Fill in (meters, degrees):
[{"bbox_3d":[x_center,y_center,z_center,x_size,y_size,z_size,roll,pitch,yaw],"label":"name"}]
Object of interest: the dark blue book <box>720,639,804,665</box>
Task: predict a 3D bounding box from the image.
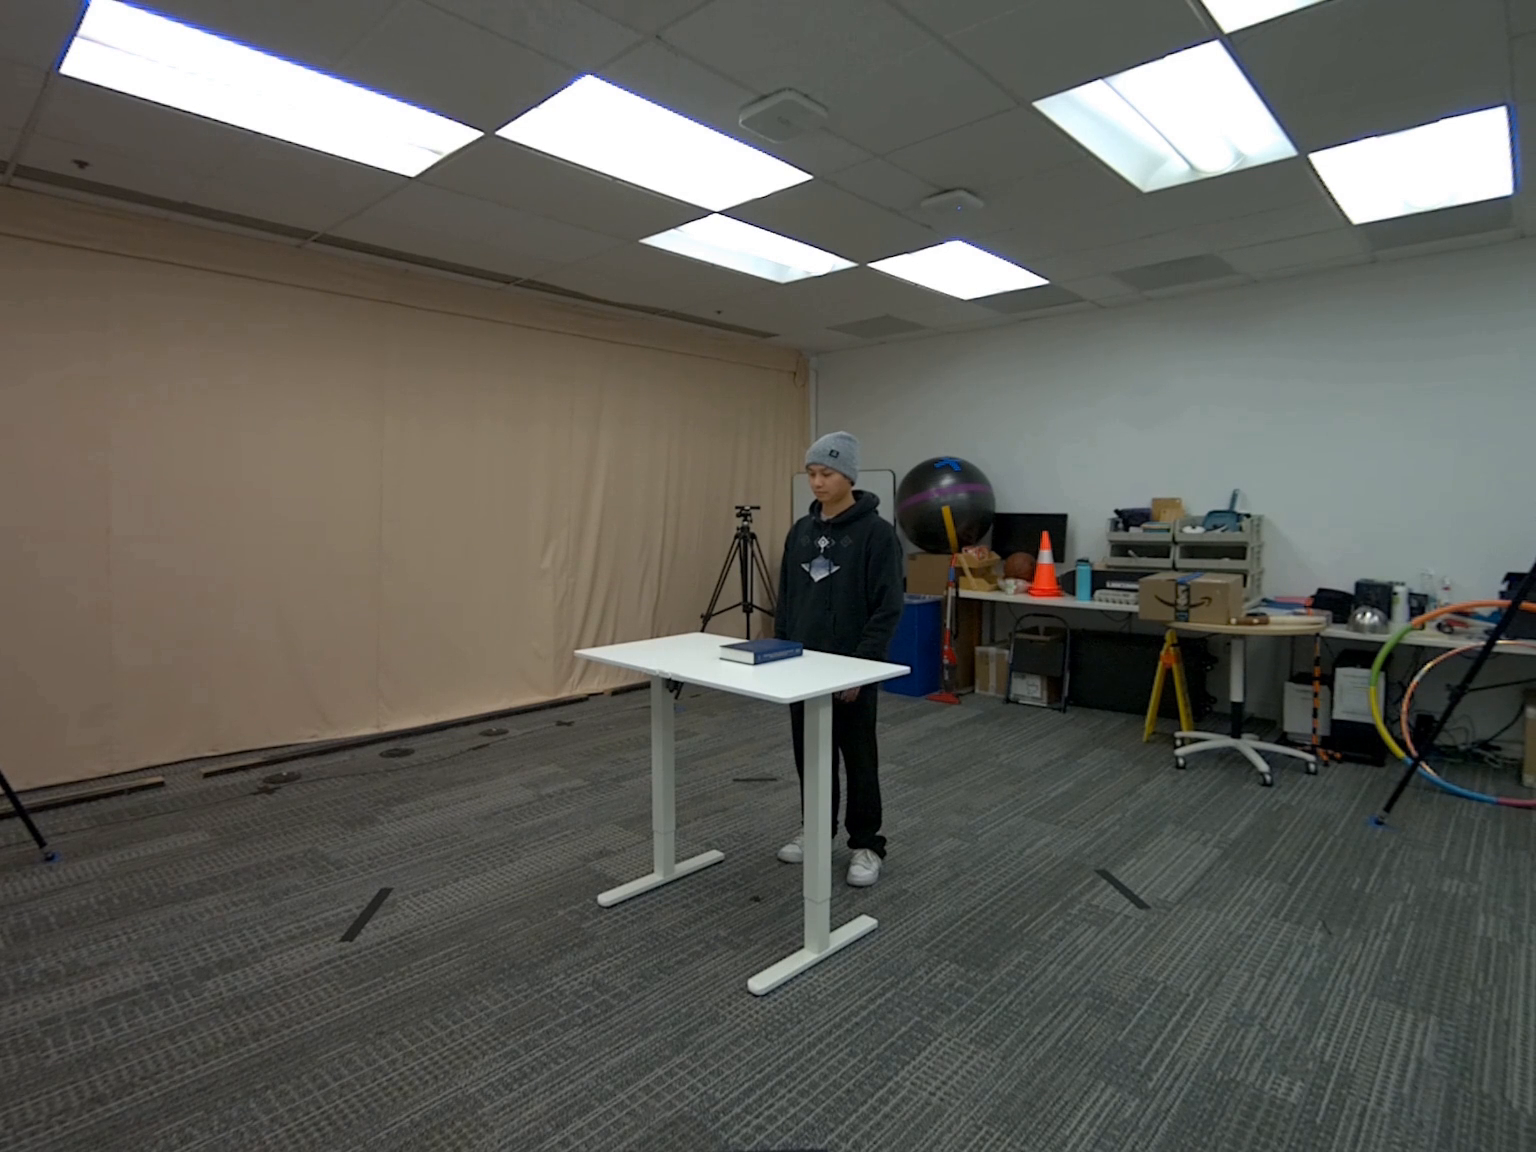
[{"bbox_3d":[-0.022,0.256,2.827,0.169,0.045,0.238,5,7,44],"label":"dark blue book"}]
